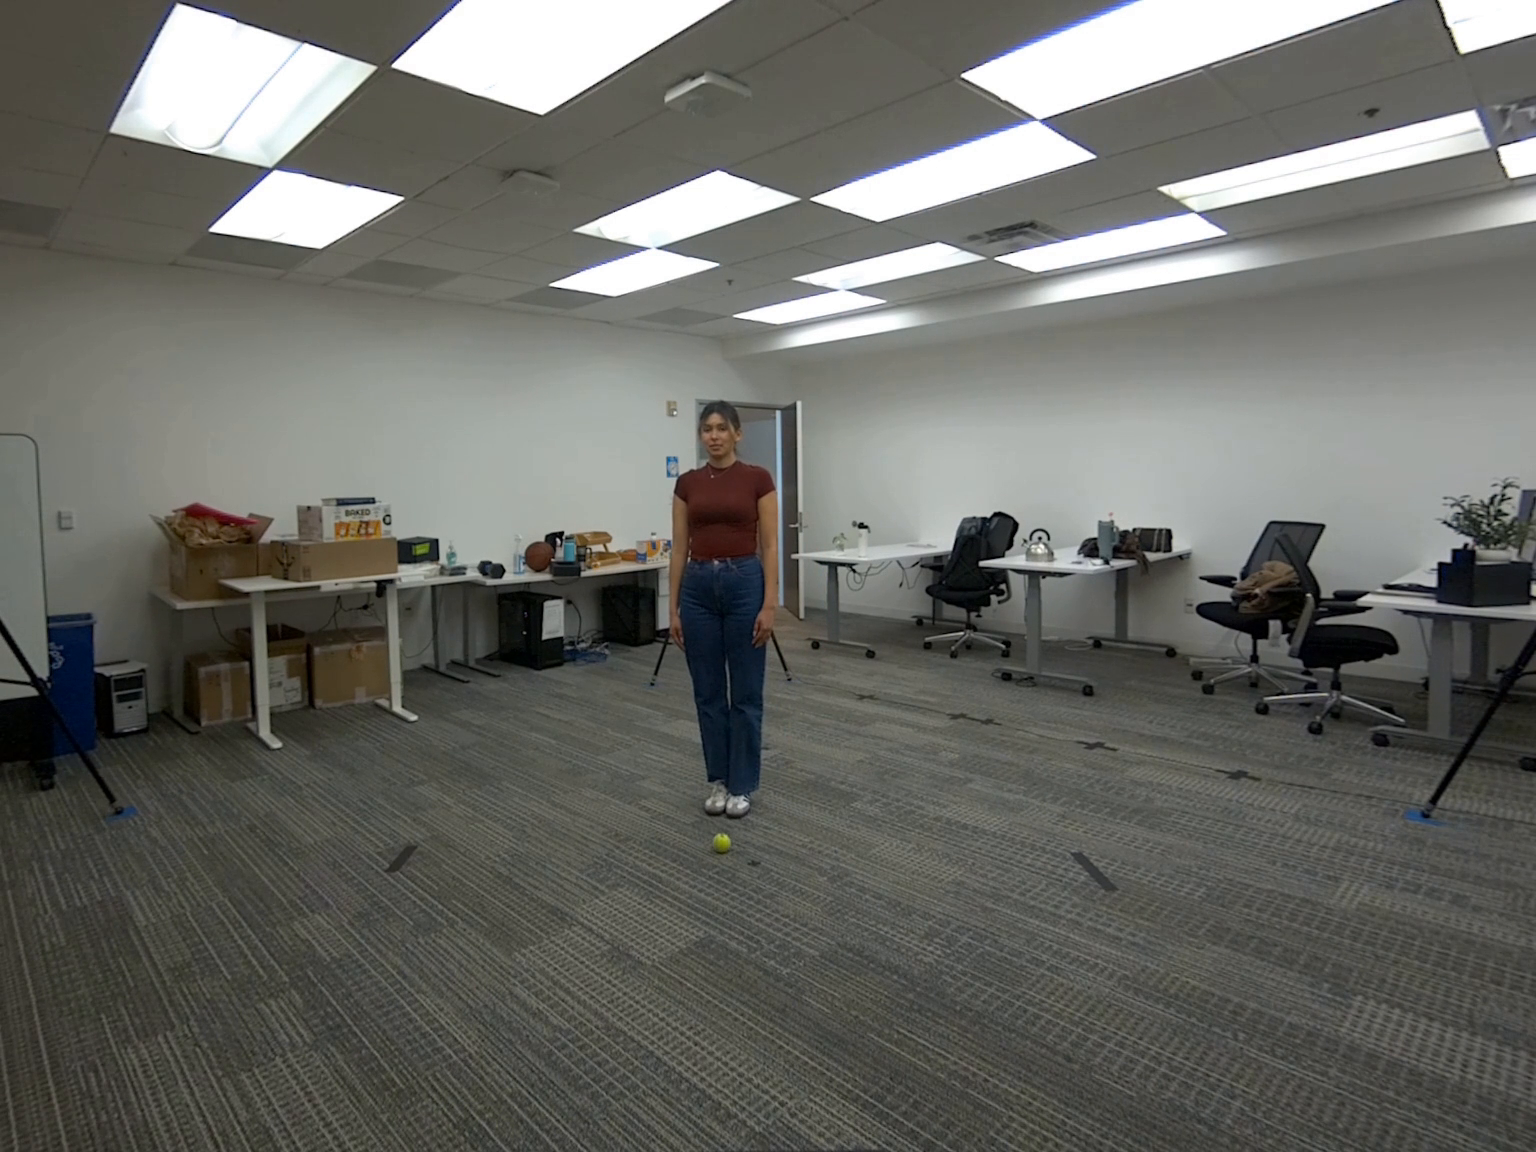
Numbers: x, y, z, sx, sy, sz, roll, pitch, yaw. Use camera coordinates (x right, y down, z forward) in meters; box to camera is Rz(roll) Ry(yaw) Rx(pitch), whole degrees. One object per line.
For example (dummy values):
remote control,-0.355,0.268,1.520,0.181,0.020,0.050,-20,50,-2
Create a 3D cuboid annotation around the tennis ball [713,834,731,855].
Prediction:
tennis ball,-0.177,1.000,3.215,0.066,0.066,0.067,-1,5,-2
